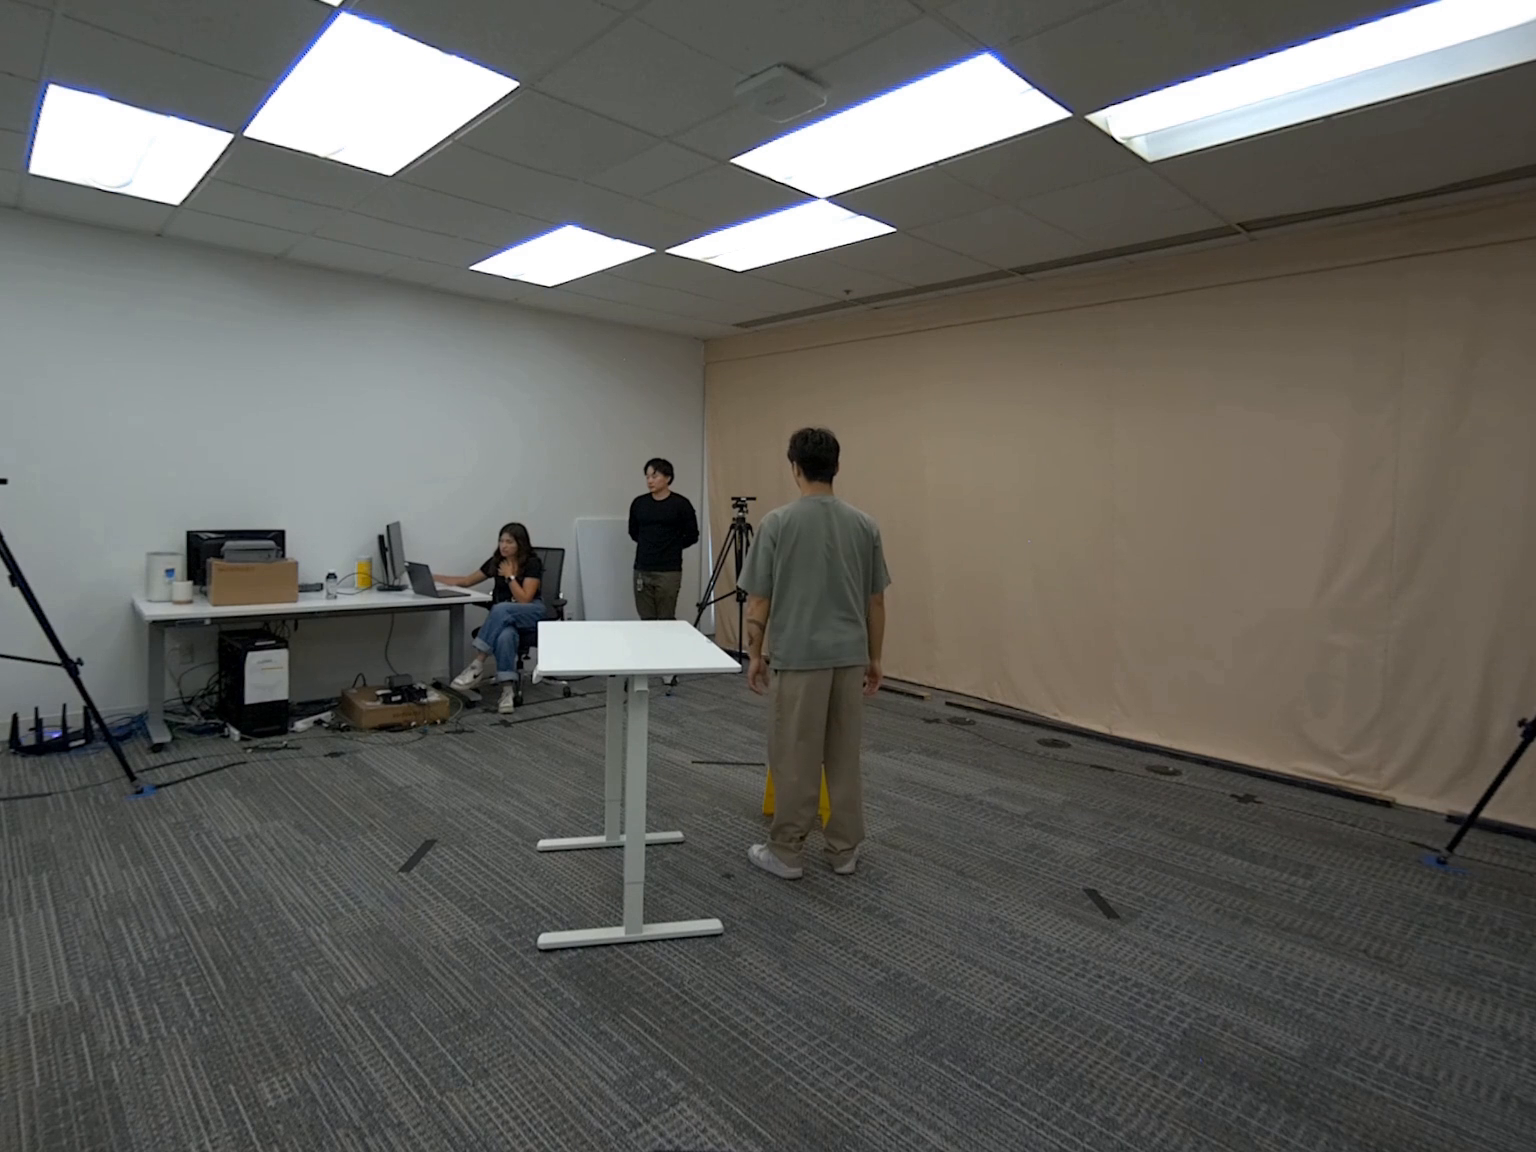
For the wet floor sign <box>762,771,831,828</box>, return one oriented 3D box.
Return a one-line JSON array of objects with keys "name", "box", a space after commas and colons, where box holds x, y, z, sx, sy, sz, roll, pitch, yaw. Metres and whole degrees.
[{"name": "wet floor sign", "box": [0.146, 0.742, 3.634, 0.279, 0.645, 0.293, 2, 1, -13]}]
